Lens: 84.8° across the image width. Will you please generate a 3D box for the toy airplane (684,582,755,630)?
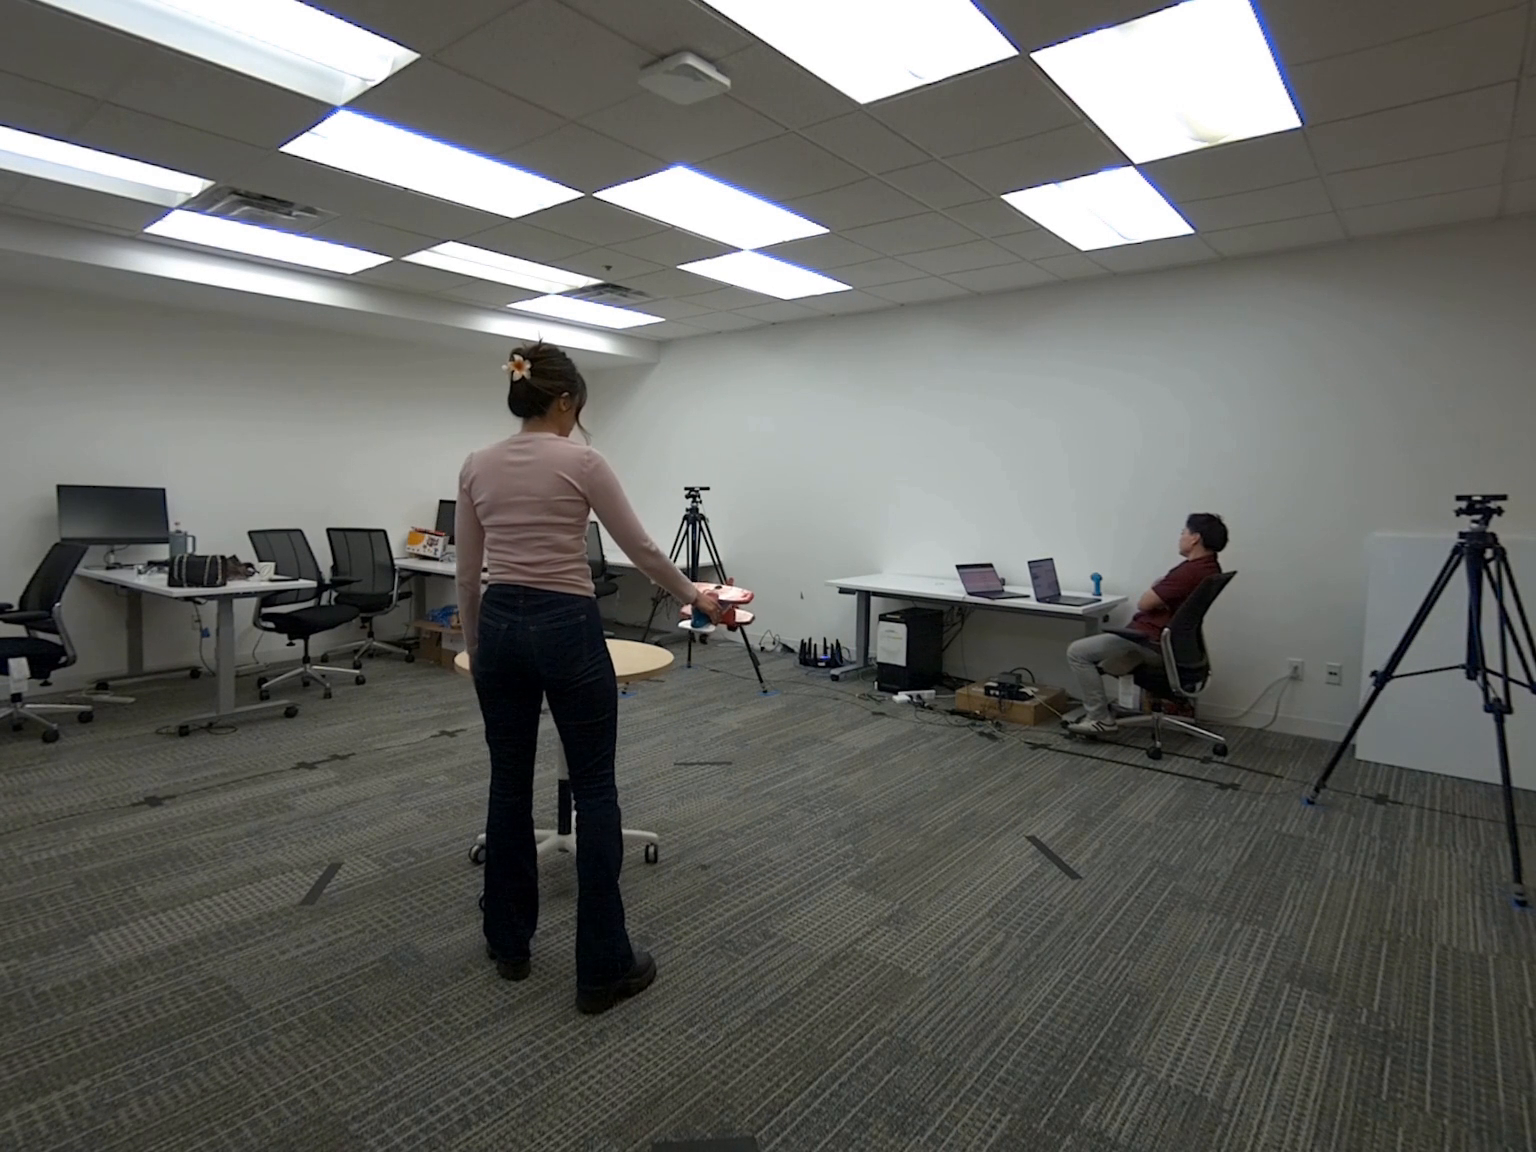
[{"bbox_3d":[-0.165,0.115,2.731,0.249,0.155,0.263,4,10,-7],"label":"toy airplane"}]
